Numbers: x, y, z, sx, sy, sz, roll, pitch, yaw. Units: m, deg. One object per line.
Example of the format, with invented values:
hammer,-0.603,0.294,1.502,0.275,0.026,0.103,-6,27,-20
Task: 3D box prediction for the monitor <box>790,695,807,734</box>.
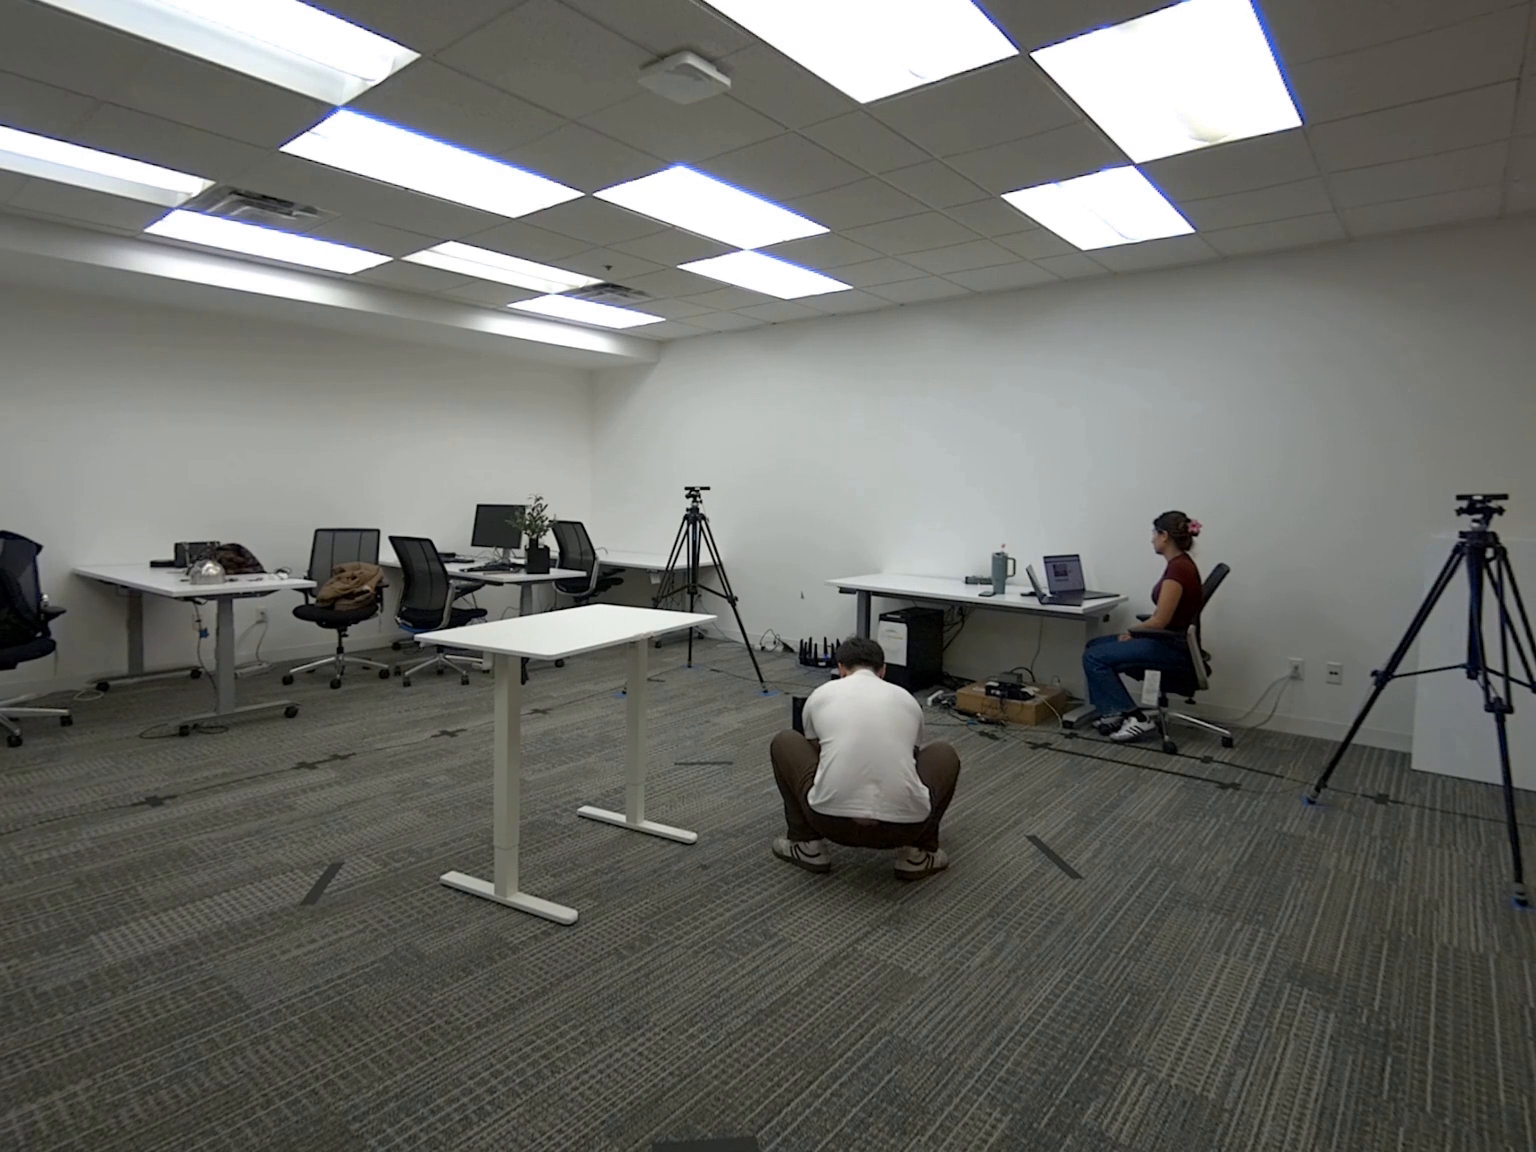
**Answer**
monitor,0.361,0.767,3.574,0.543,0.520,0.186,3,5,6
